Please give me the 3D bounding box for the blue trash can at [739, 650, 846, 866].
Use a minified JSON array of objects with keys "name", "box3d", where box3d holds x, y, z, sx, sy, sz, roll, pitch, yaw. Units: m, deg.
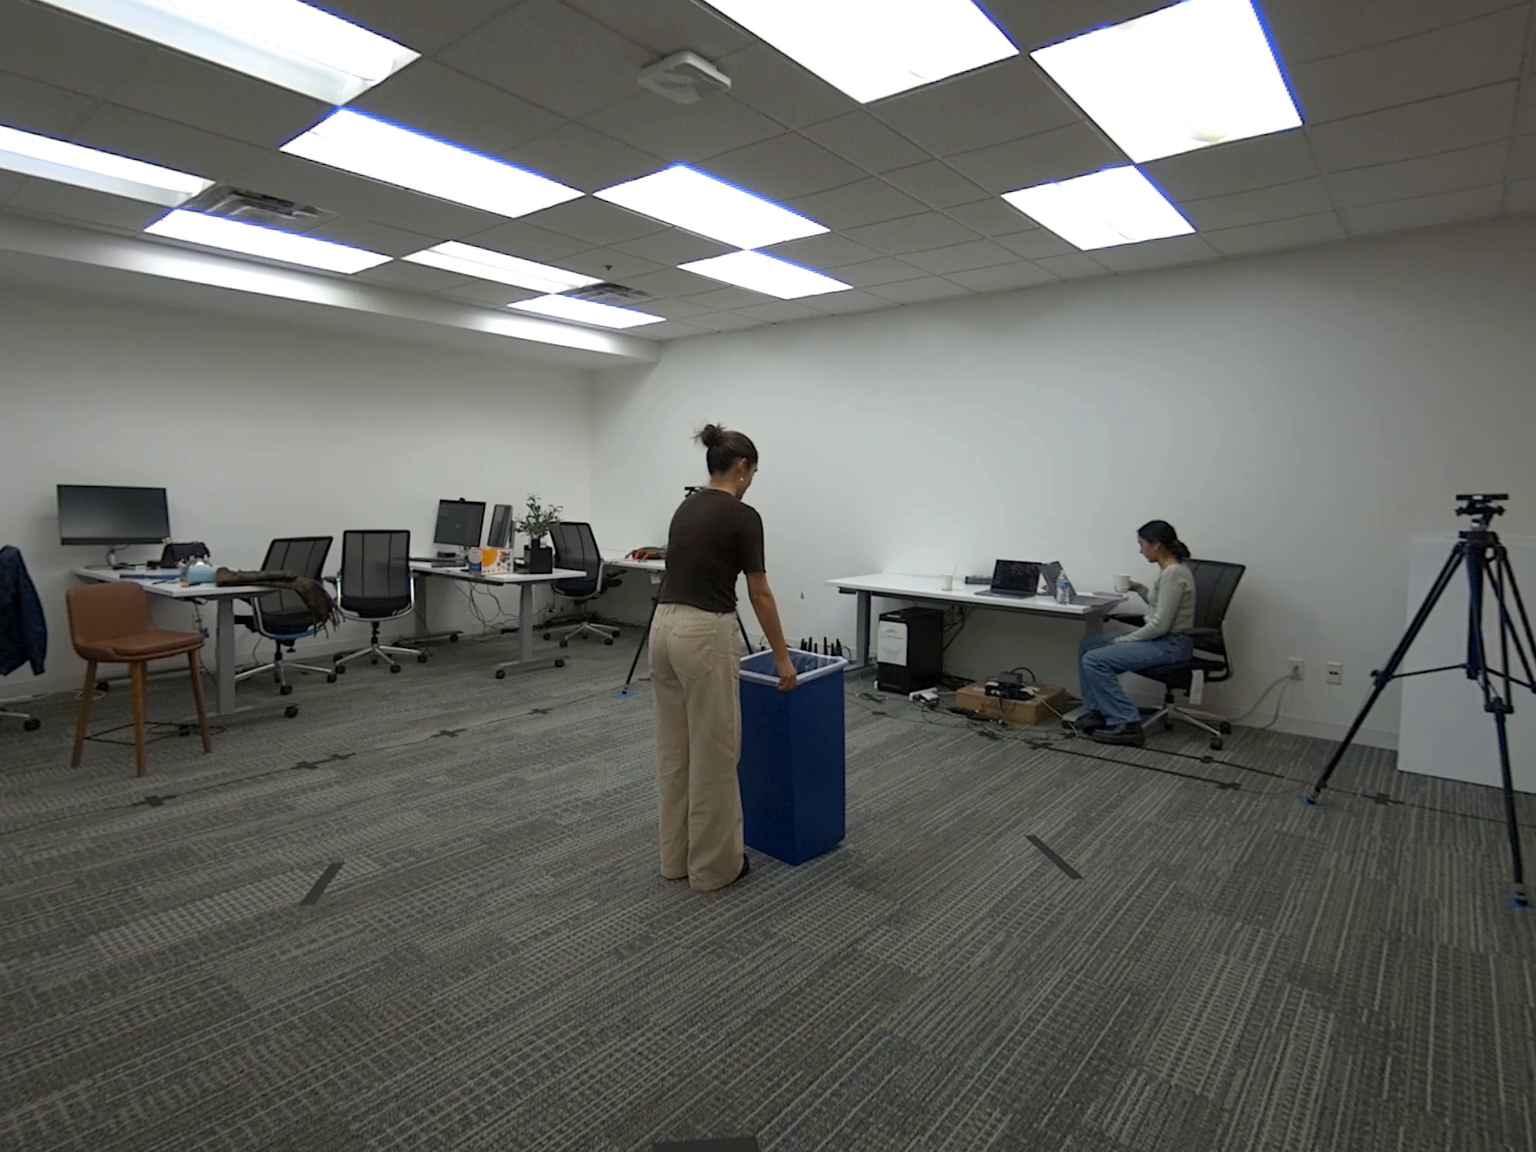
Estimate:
[{"name":"blue trash can","box3d":[0.069,0.682,3.289,0.364,0.709,0.391,-9,9,-44]}]
